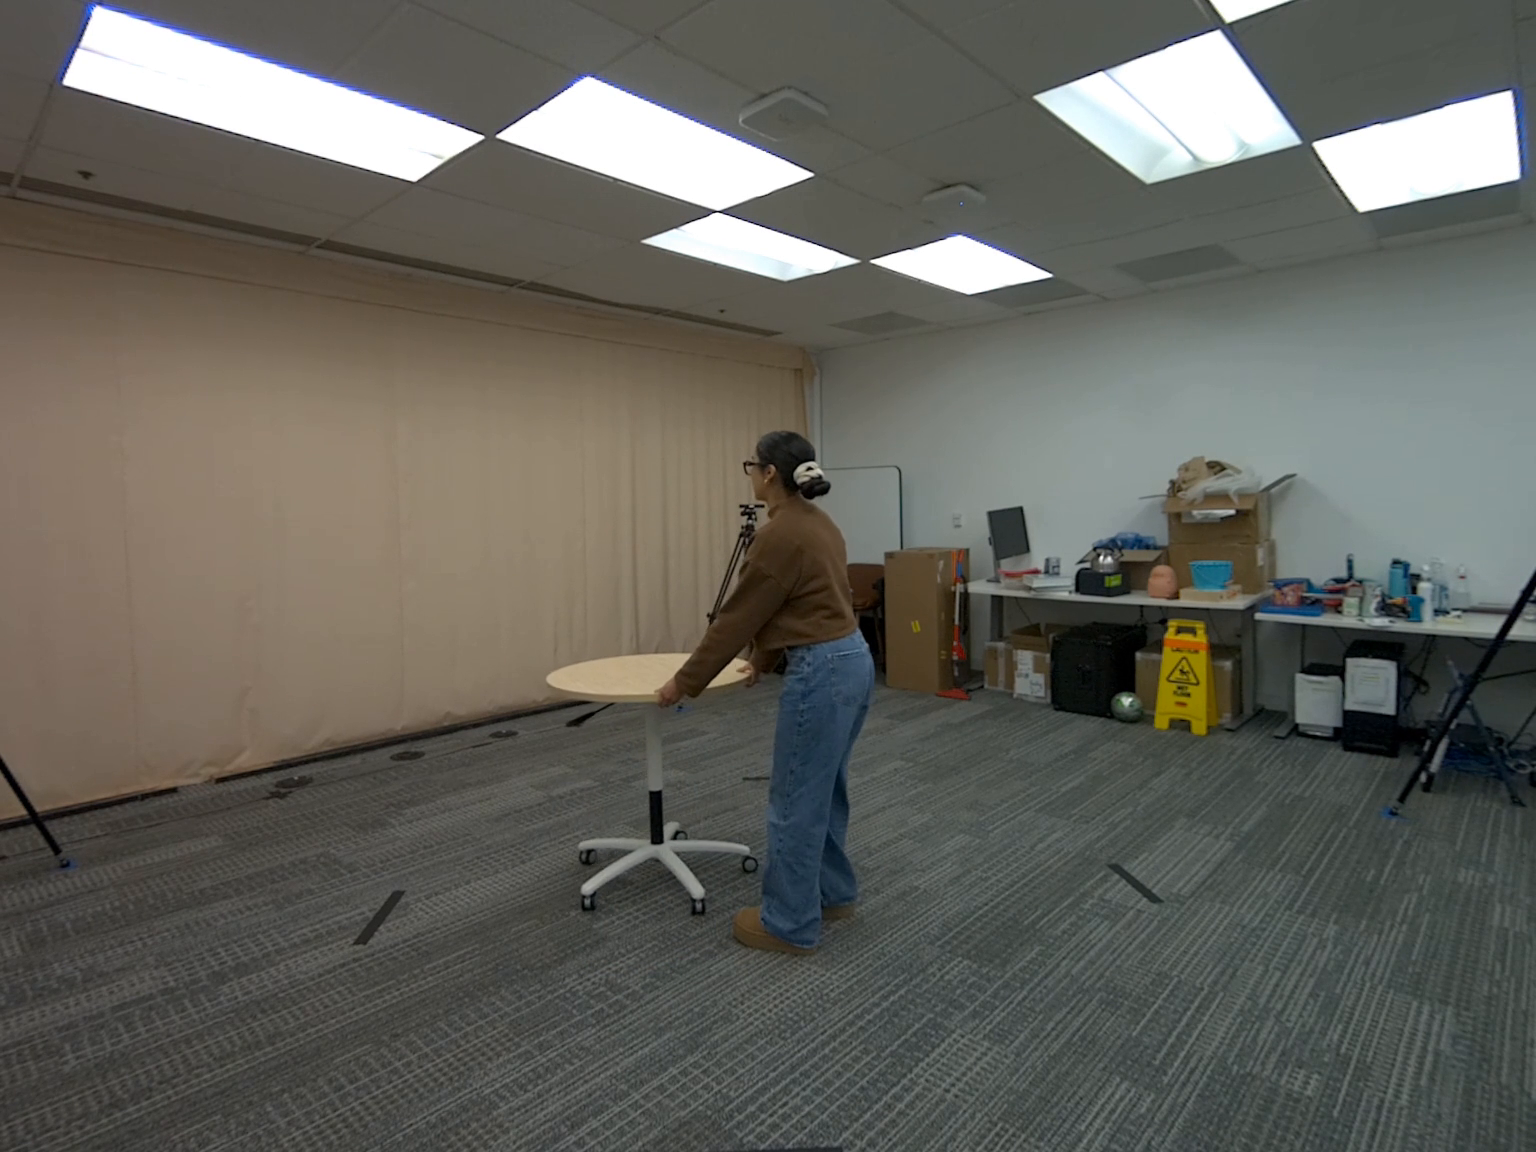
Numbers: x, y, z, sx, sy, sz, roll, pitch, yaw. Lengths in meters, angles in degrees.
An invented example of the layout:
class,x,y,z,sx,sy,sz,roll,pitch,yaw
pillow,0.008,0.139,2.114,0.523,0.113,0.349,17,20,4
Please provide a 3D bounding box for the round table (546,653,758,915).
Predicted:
class,x,y,z,sx,sy,sz,roll,pitch,yaw
round table,-0.397,0.742,3.126,0.784,0.785,0.788,-2,4,-2
